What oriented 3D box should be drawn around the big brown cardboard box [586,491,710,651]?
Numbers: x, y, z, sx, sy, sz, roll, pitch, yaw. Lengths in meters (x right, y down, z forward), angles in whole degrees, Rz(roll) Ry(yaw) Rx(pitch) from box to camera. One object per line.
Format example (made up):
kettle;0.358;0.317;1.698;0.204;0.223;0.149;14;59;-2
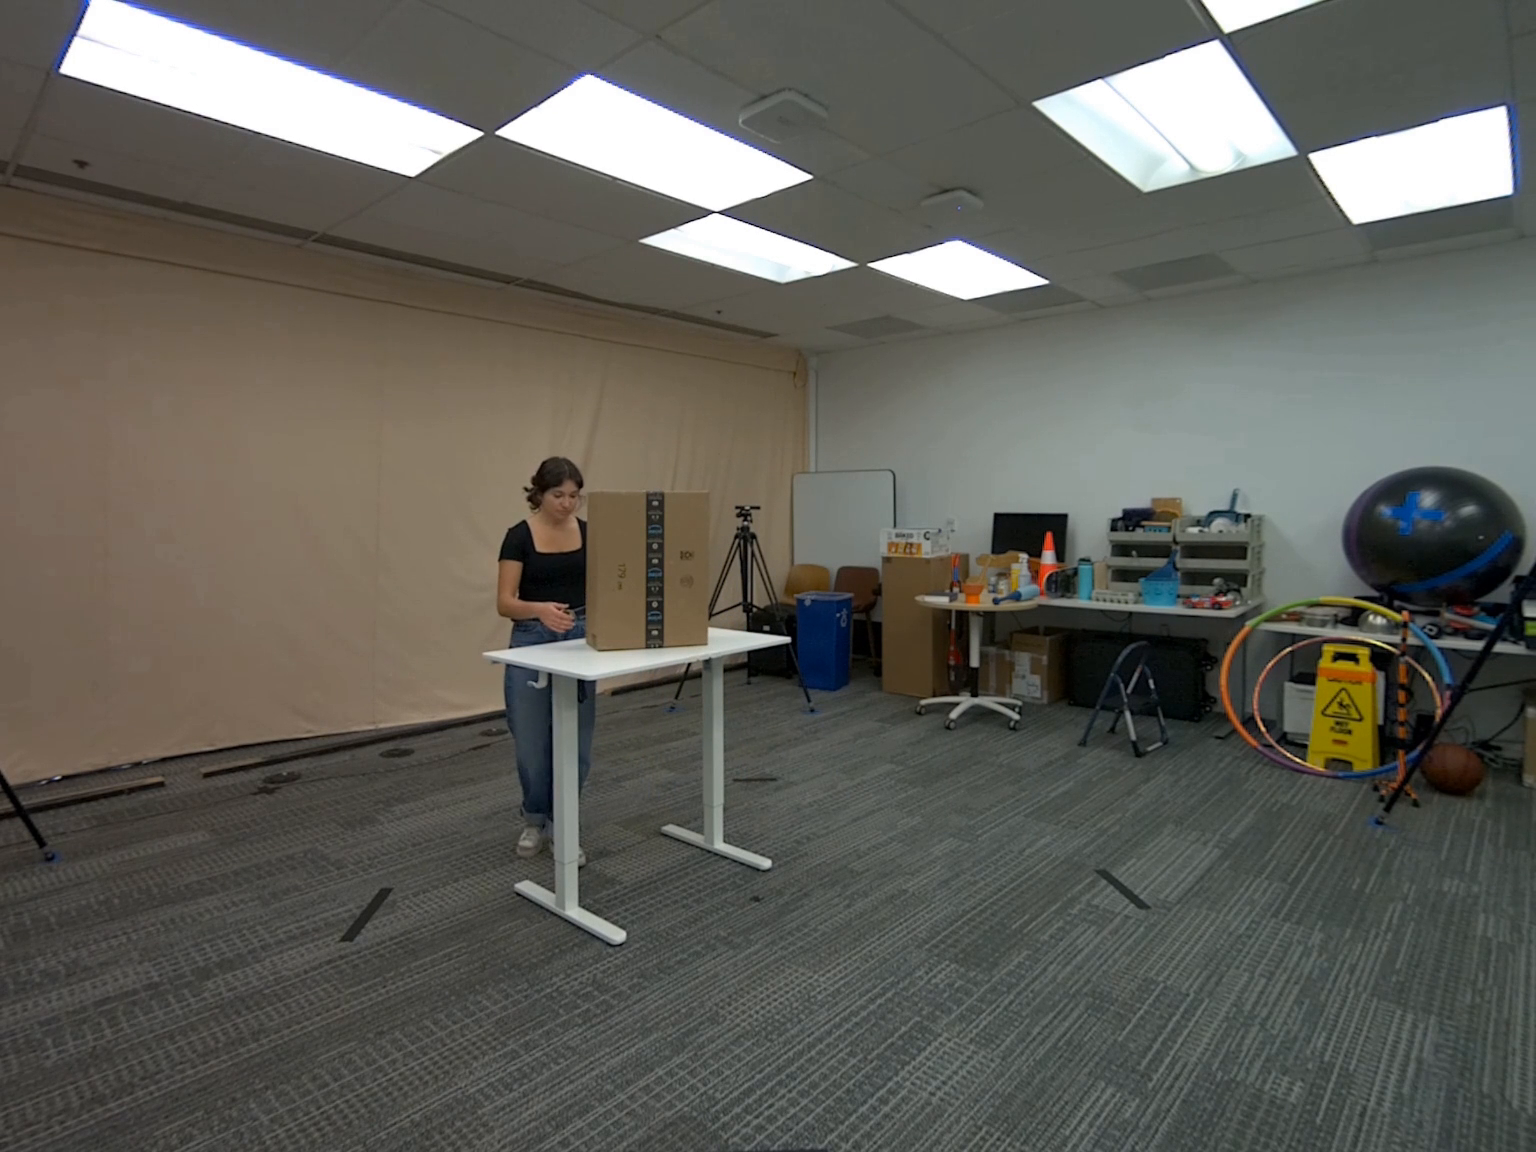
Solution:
big brown cardboard box;-0.444;-0.025;3.116;0.409;0.588;0.238;0;3;-20
